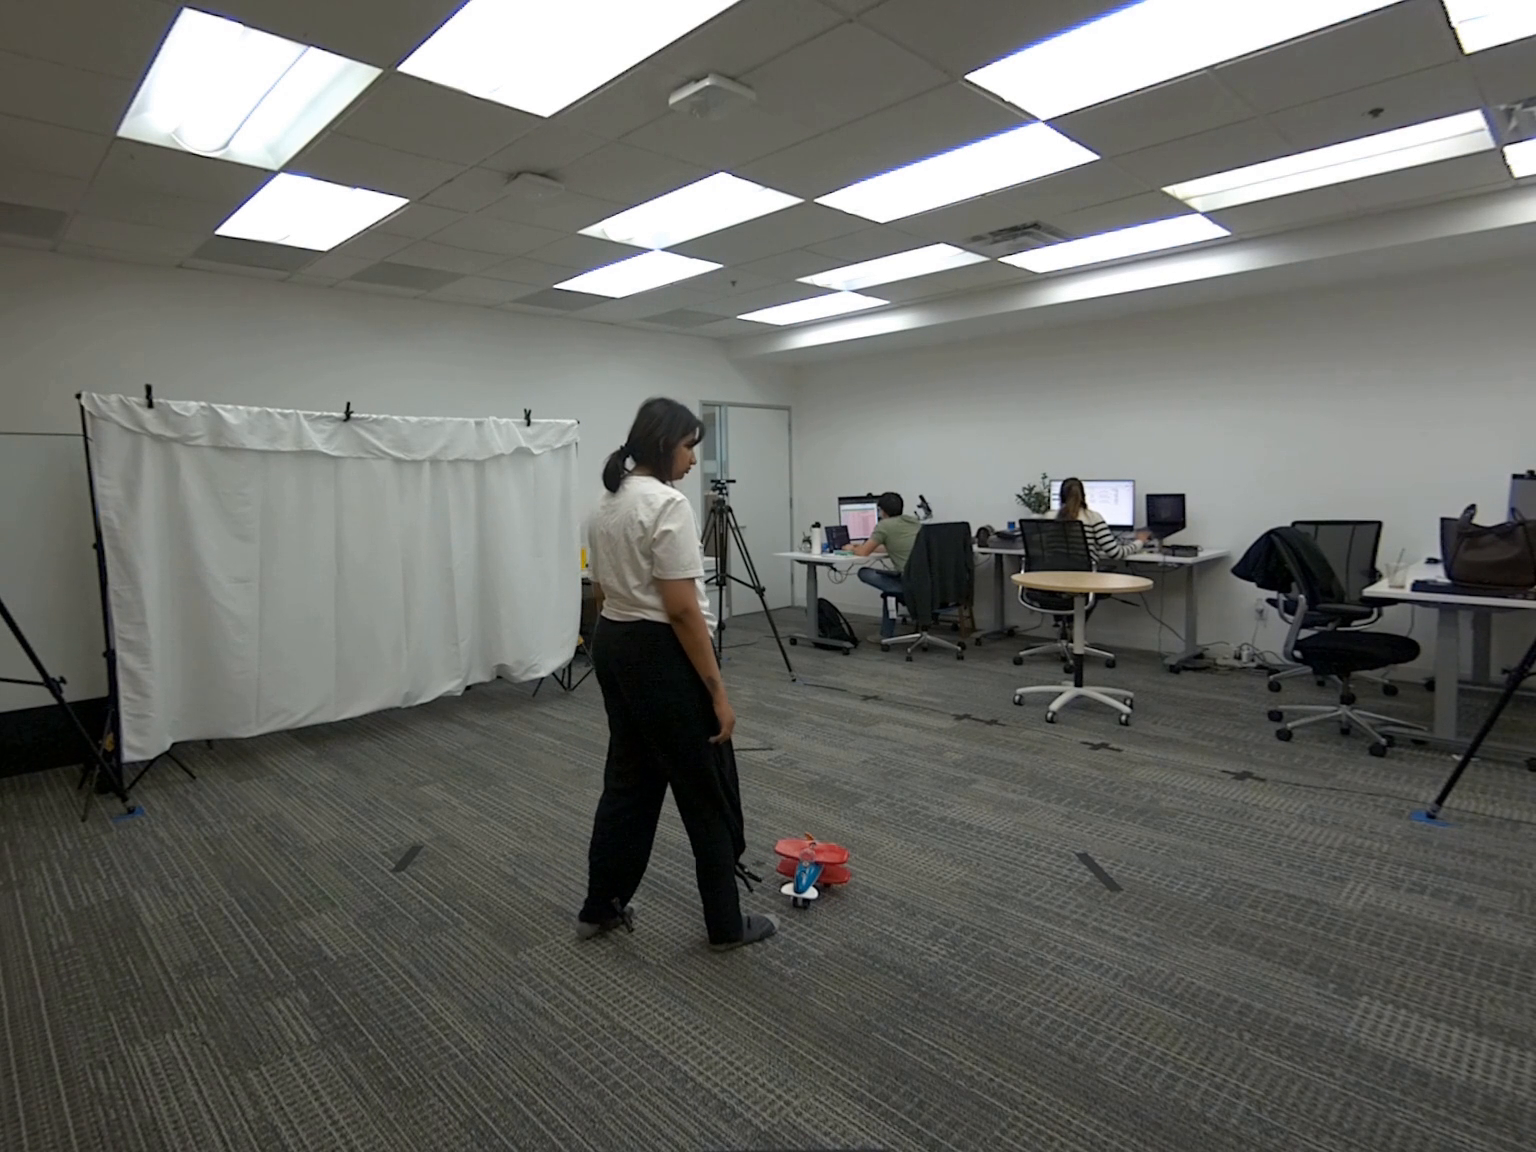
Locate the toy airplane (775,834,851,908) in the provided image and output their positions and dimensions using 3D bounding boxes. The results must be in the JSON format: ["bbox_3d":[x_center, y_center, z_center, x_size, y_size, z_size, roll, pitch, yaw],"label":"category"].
[{"bbox_3d":[0.163,0.994,2.861,0.249,0.156,0.262,-1,5,-7],"label":"toy airplane"}]
